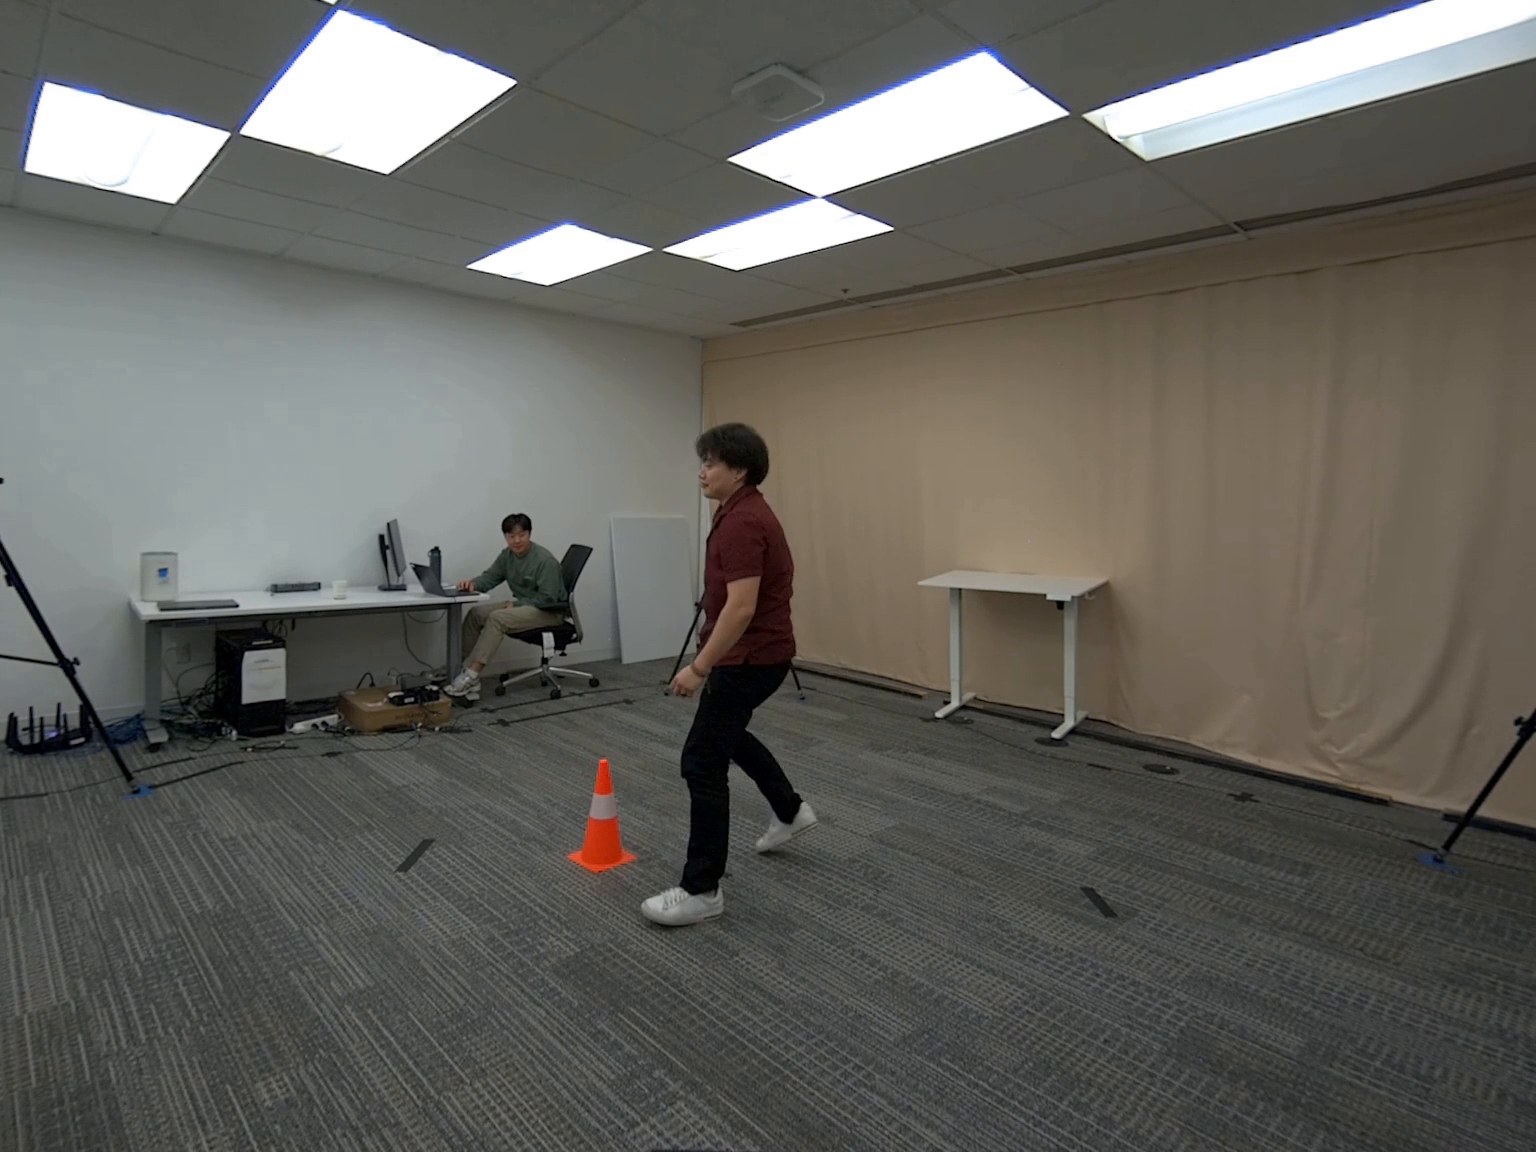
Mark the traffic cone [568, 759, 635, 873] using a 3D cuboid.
[{"bbox_3d":[-0.648,0.901,3.224,0.200,0.383,0.208,-2,3,-37],"label":"traffic cone"}]
